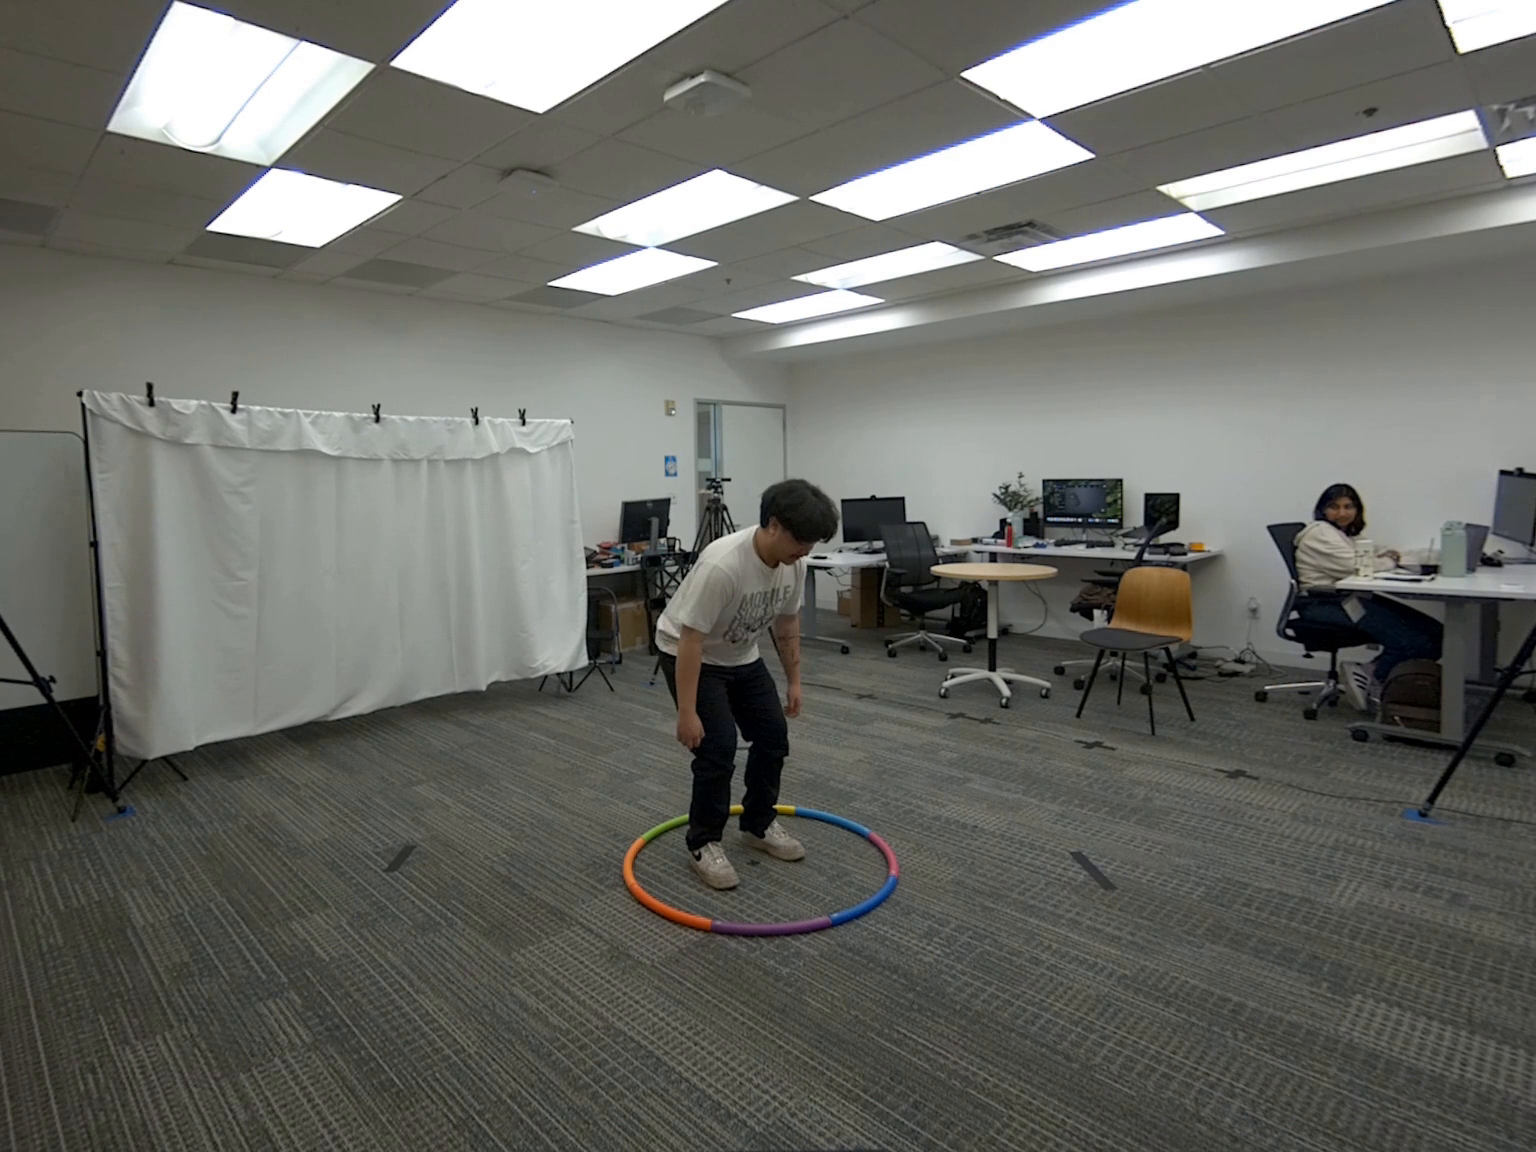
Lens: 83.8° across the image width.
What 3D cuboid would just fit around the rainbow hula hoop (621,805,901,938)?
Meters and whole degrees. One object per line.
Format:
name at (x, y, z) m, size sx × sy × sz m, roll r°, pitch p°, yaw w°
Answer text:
rainbow hula hoop at (-0.027, 1.020, 3.090) m, size 0.985 × 0.051 × 0.991 m, roll -1°, pitch 6°, yaw -2°
